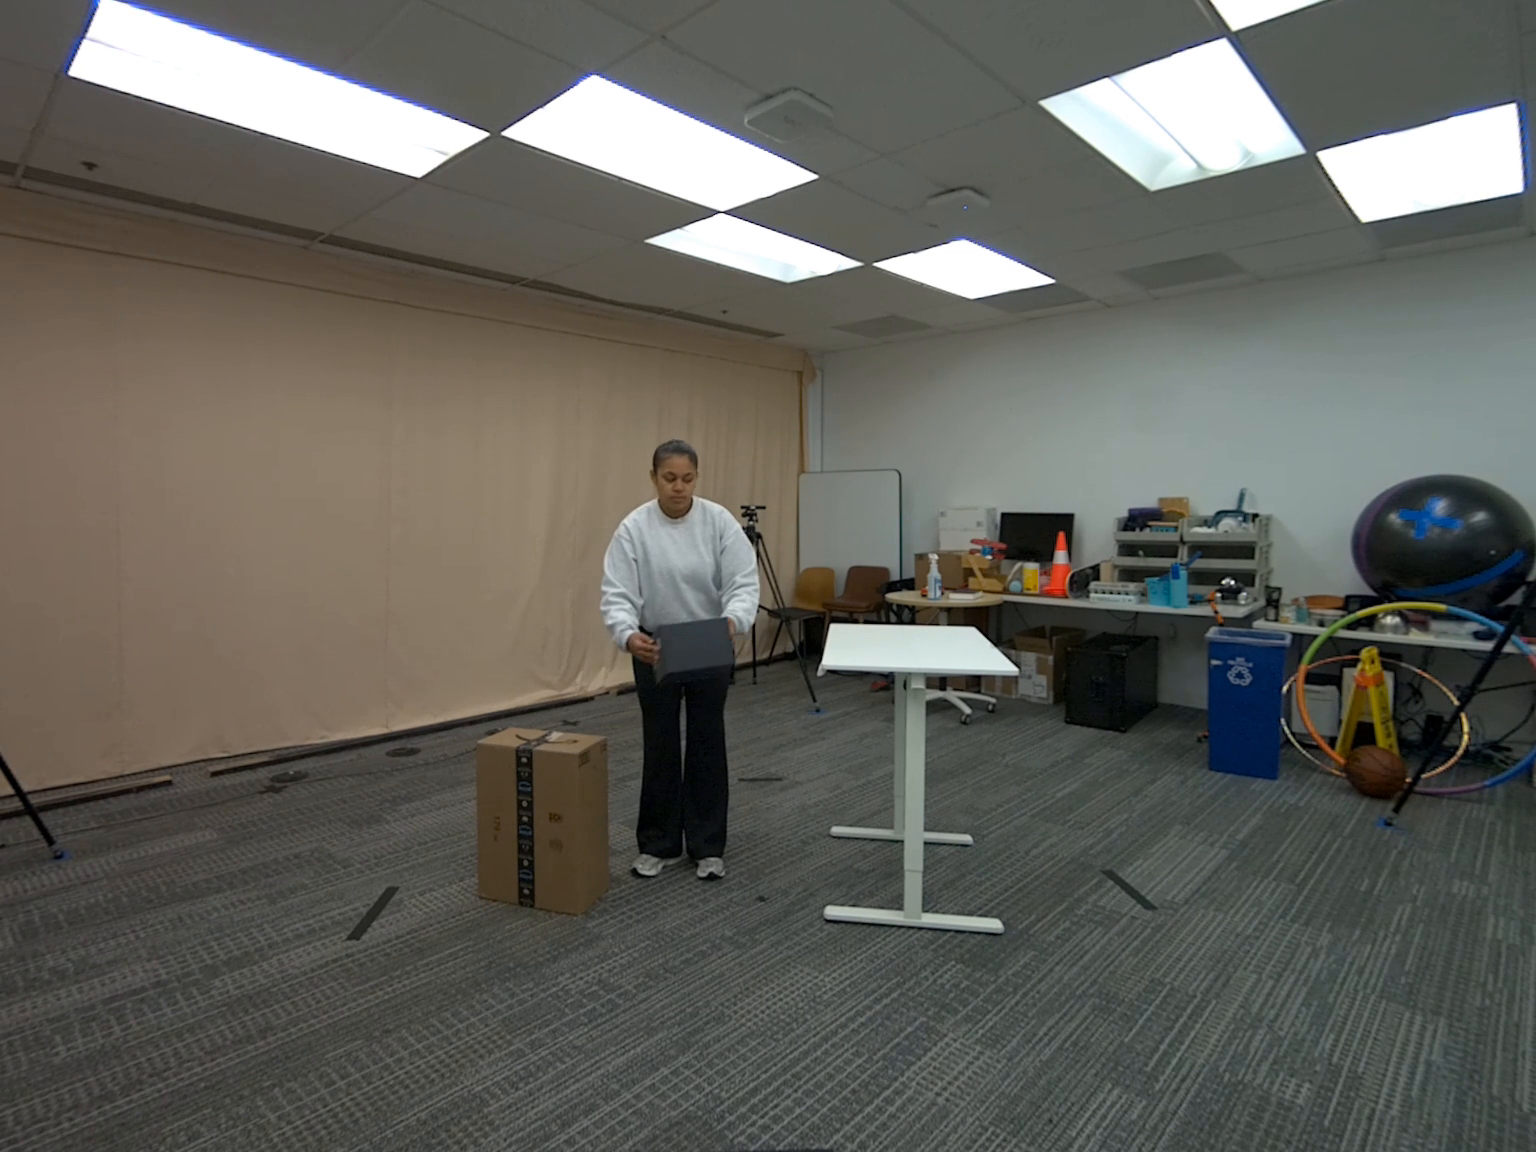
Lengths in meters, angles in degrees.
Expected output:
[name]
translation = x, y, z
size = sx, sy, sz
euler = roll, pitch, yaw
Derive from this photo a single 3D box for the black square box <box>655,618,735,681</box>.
[black square box]
translation = -0.250, 0.238, 2.778
size = 0.225, 0.157, 0.218
euler = -5, -10, -15
